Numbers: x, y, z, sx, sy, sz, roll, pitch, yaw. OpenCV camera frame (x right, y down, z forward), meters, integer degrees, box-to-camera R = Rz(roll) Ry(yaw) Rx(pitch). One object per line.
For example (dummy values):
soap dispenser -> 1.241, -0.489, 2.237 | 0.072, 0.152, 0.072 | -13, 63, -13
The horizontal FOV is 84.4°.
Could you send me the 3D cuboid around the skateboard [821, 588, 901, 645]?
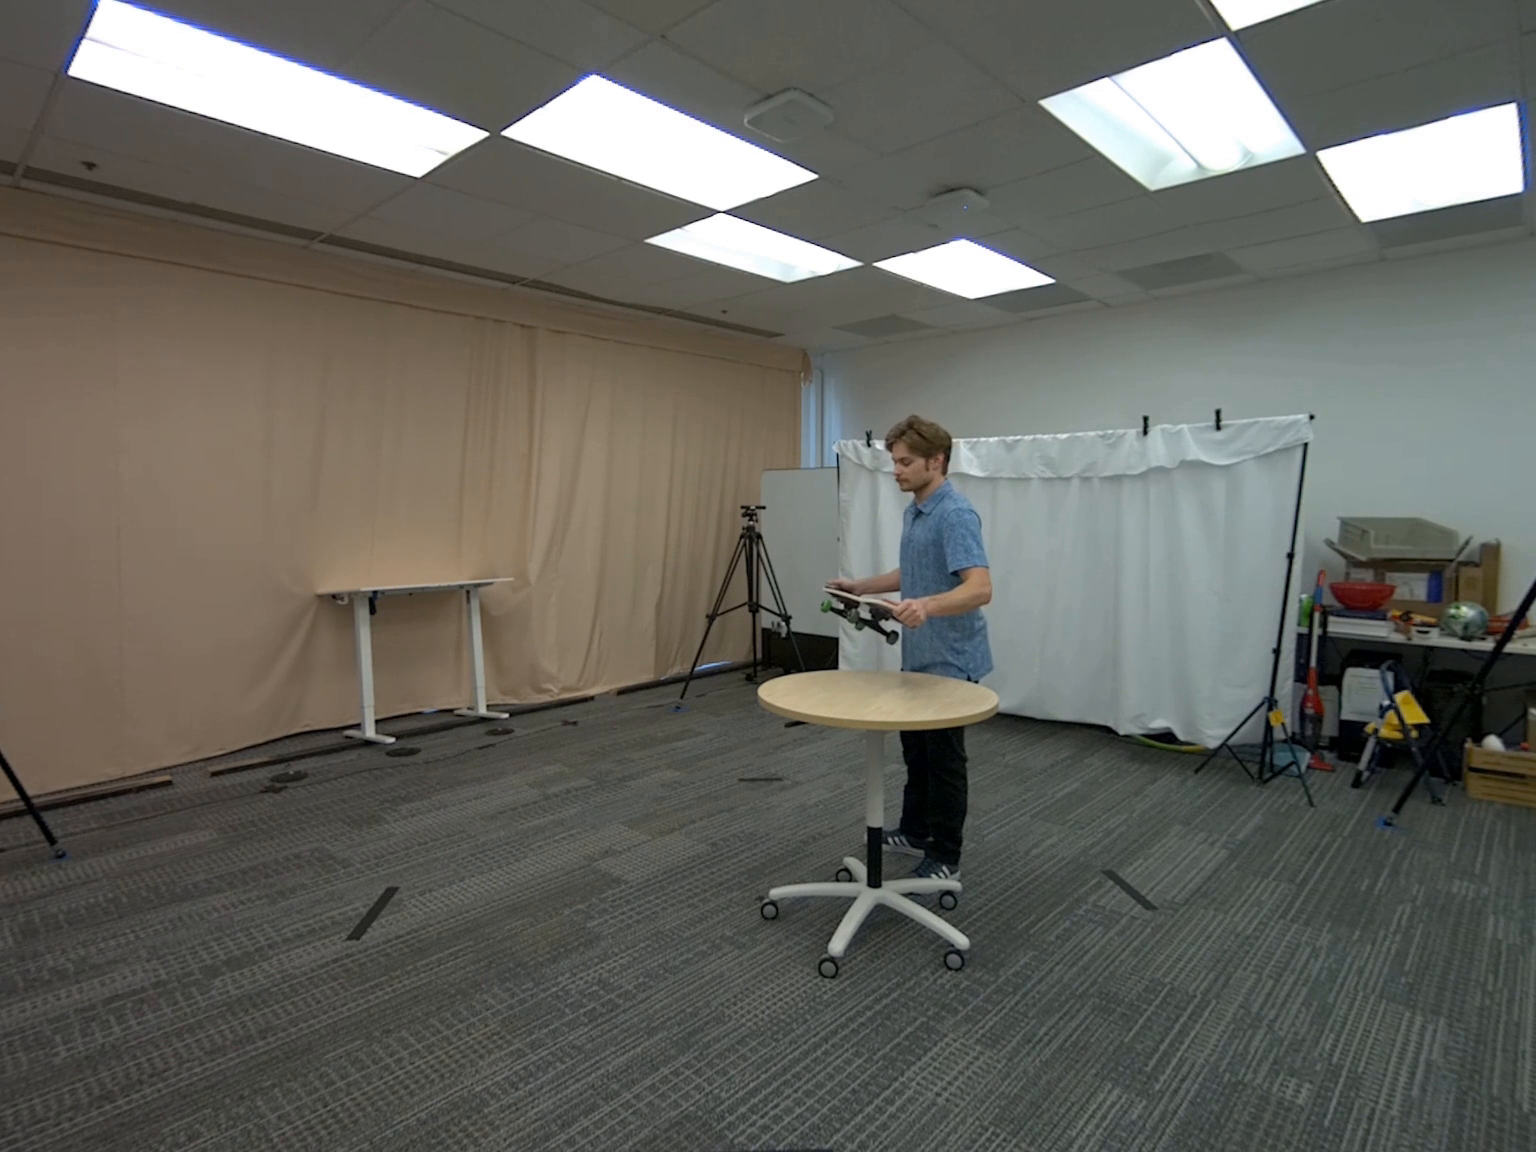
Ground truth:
skateboard -> 0.348, 0.140, 3.028 | 0.192, 0.110, 0.793 | 29, -2, -9
